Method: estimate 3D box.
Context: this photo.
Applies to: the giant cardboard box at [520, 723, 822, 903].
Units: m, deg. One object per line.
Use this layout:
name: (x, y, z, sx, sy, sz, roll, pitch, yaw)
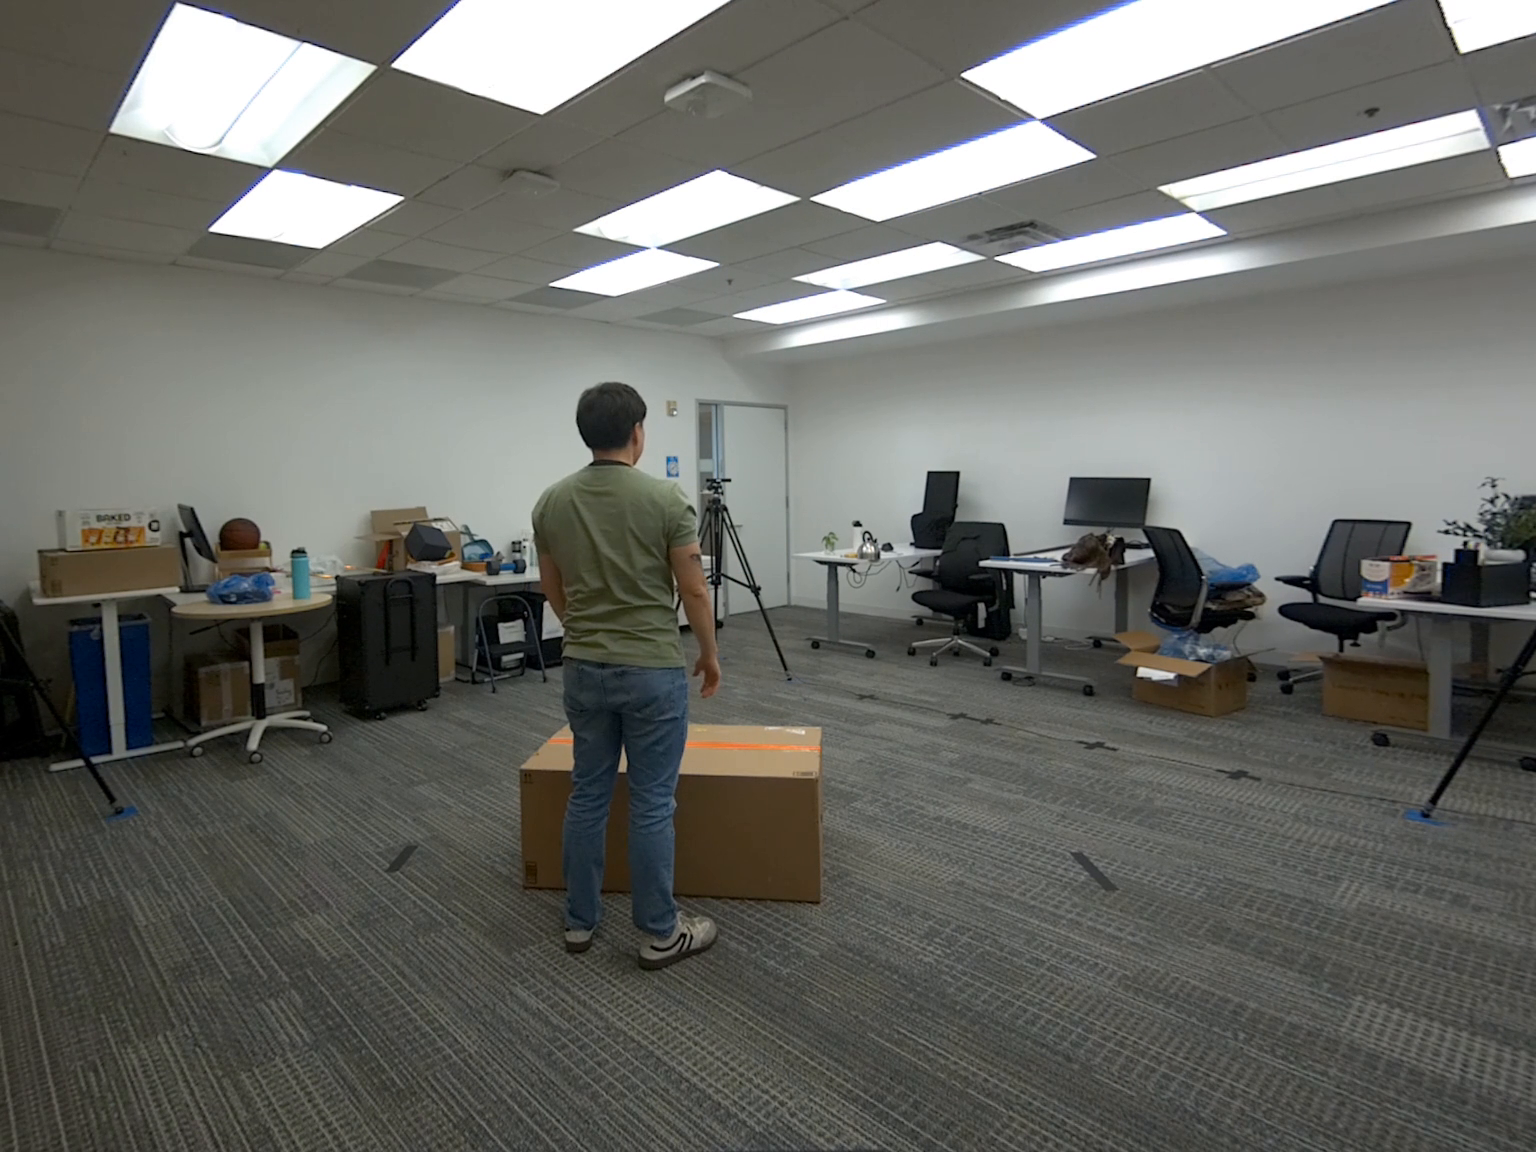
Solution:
giant cardboard box: (-0.315, 0.827, 3.141, 1.033, 0.425, 0.575, 0, 5, 7)
